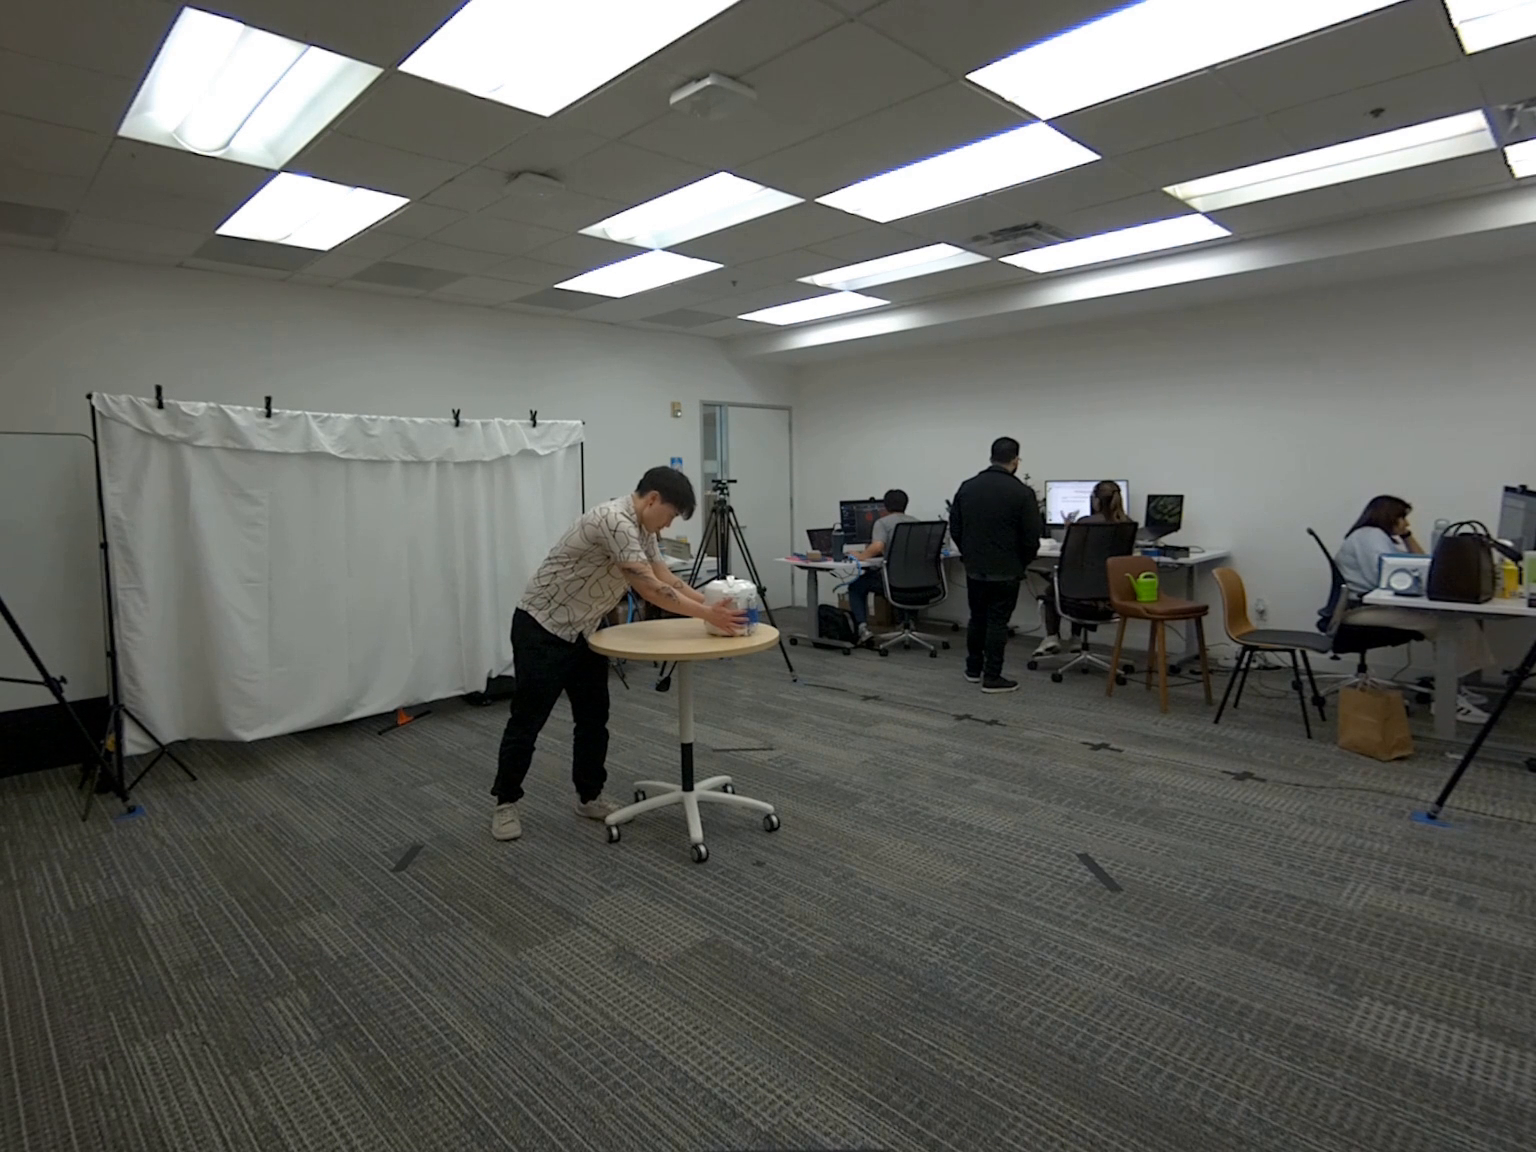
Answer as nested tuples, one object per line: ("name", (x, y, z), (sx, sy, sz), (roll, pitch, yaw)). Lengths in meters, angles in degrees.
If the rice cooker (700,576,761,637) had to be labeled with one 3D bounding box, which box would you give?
("rice cooker", (-0.153, 0.112, 3.430), (0.217, 0.232, 0.222), (1, 4, -2))
